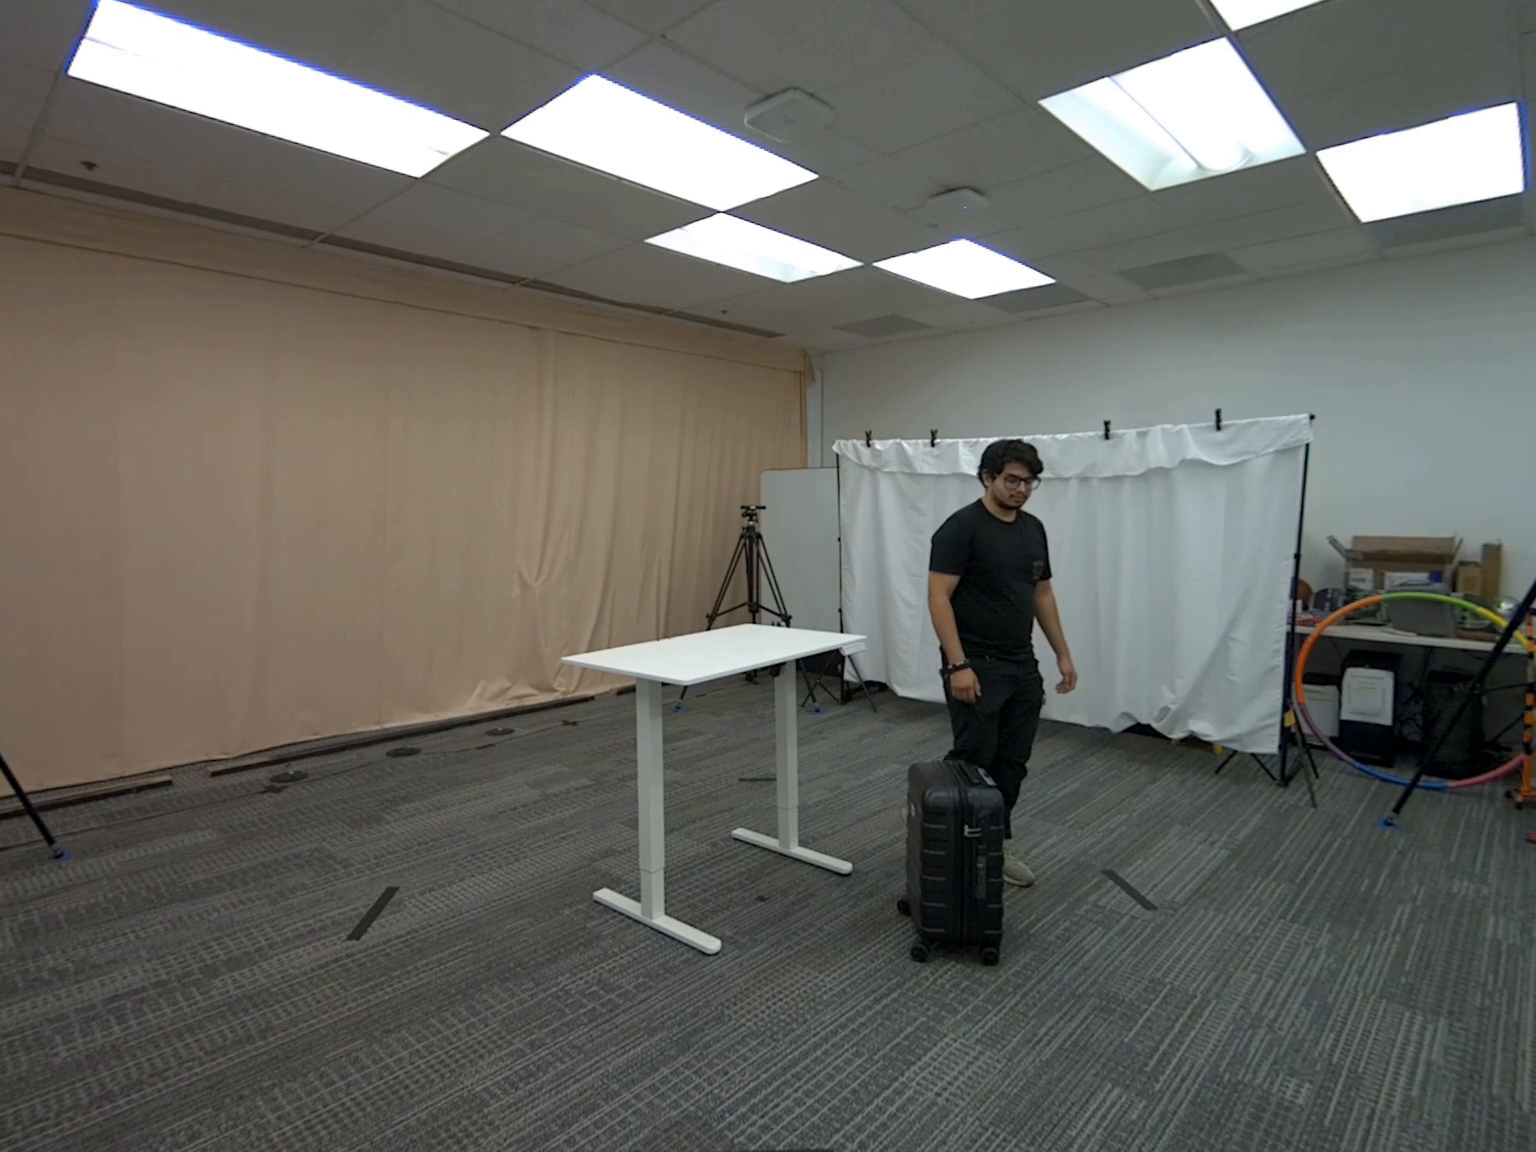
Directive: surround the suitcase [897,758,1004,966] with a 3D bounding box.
[{"bbox_3d":[0.598,0.894,2.690,0.249,0.548,0.375,2,4,1],"label":"suitcase"}]
